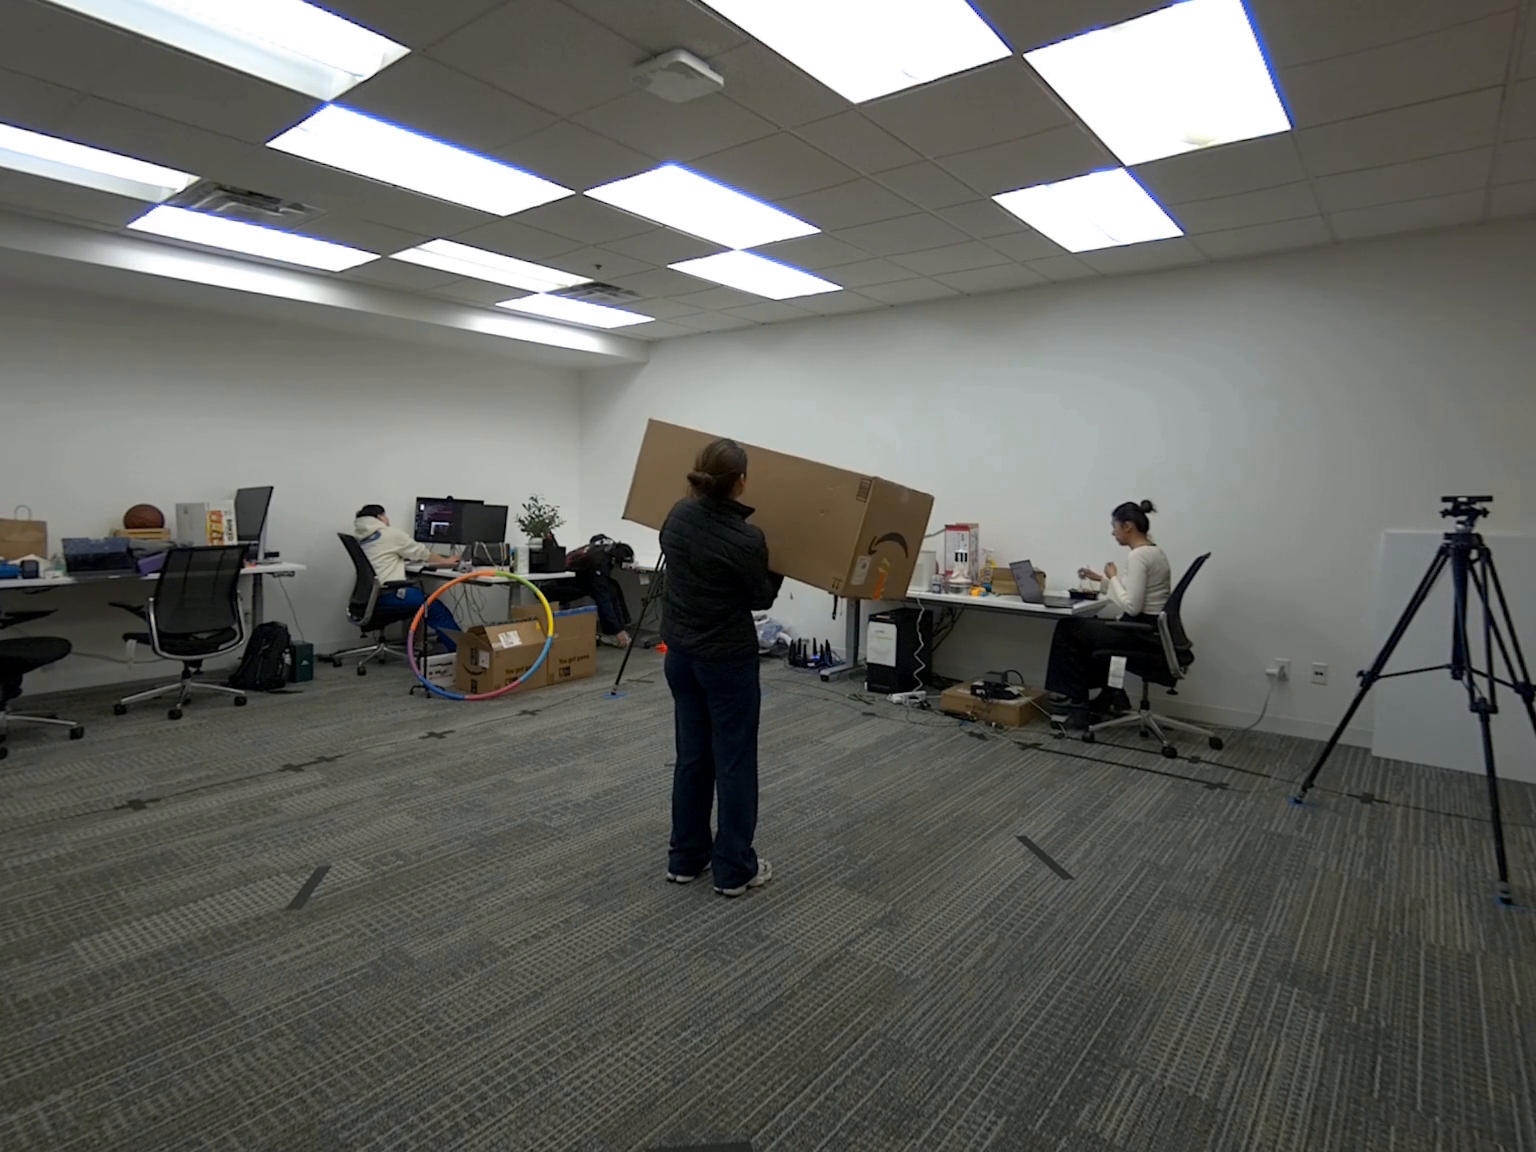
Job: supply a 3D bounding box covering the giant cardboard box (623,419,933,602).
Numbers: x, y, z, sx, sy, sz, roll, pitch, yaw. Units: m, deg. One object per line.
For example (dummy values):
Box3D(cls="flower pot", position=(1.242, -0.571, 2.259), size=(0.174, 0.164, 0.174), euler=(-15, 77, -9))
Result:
Box3D(cls="giant cardboard box", position=(0.052, -0.271, 3.371), size=(1.063, 0.424, 0.559), euler=(20, 8, 32))
